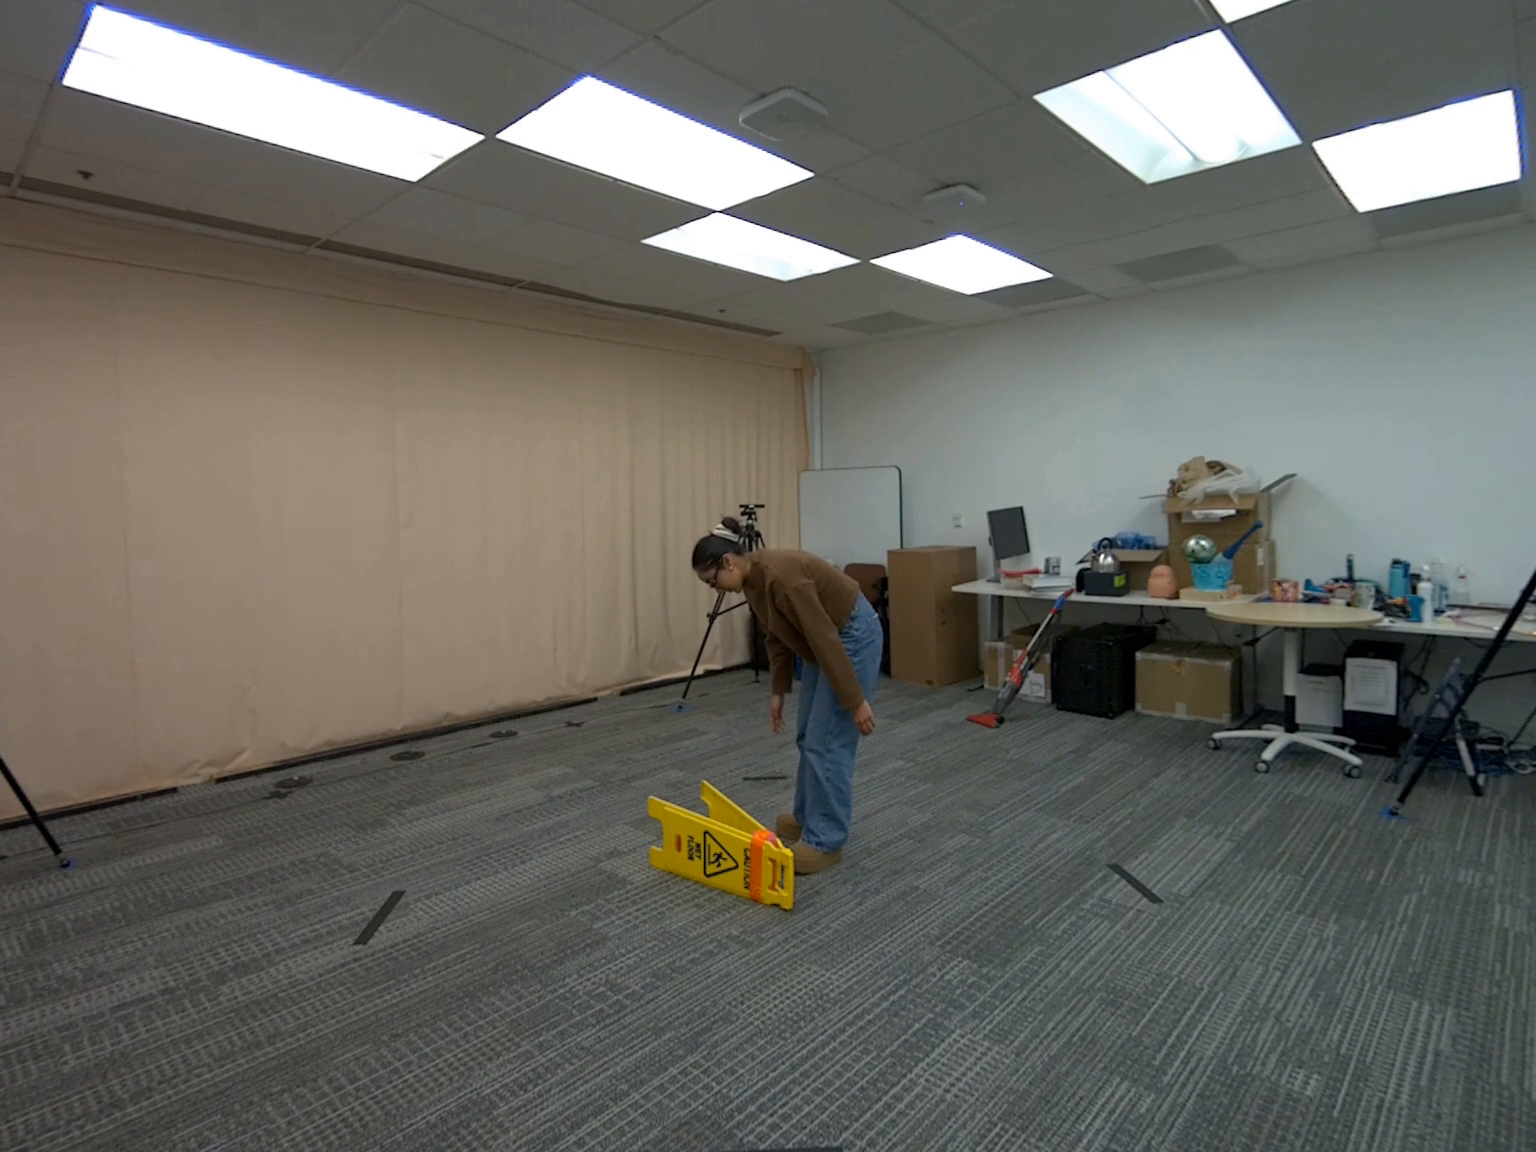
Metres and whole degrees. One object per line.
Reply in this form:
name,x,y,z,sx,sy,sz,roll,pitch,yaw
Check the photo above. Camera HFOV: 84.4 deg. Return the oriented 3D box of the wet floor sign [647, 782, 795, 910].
wet floor sign,-0.135,1.004,3.106,0.281,0.281,0.668,-5,9,-42
